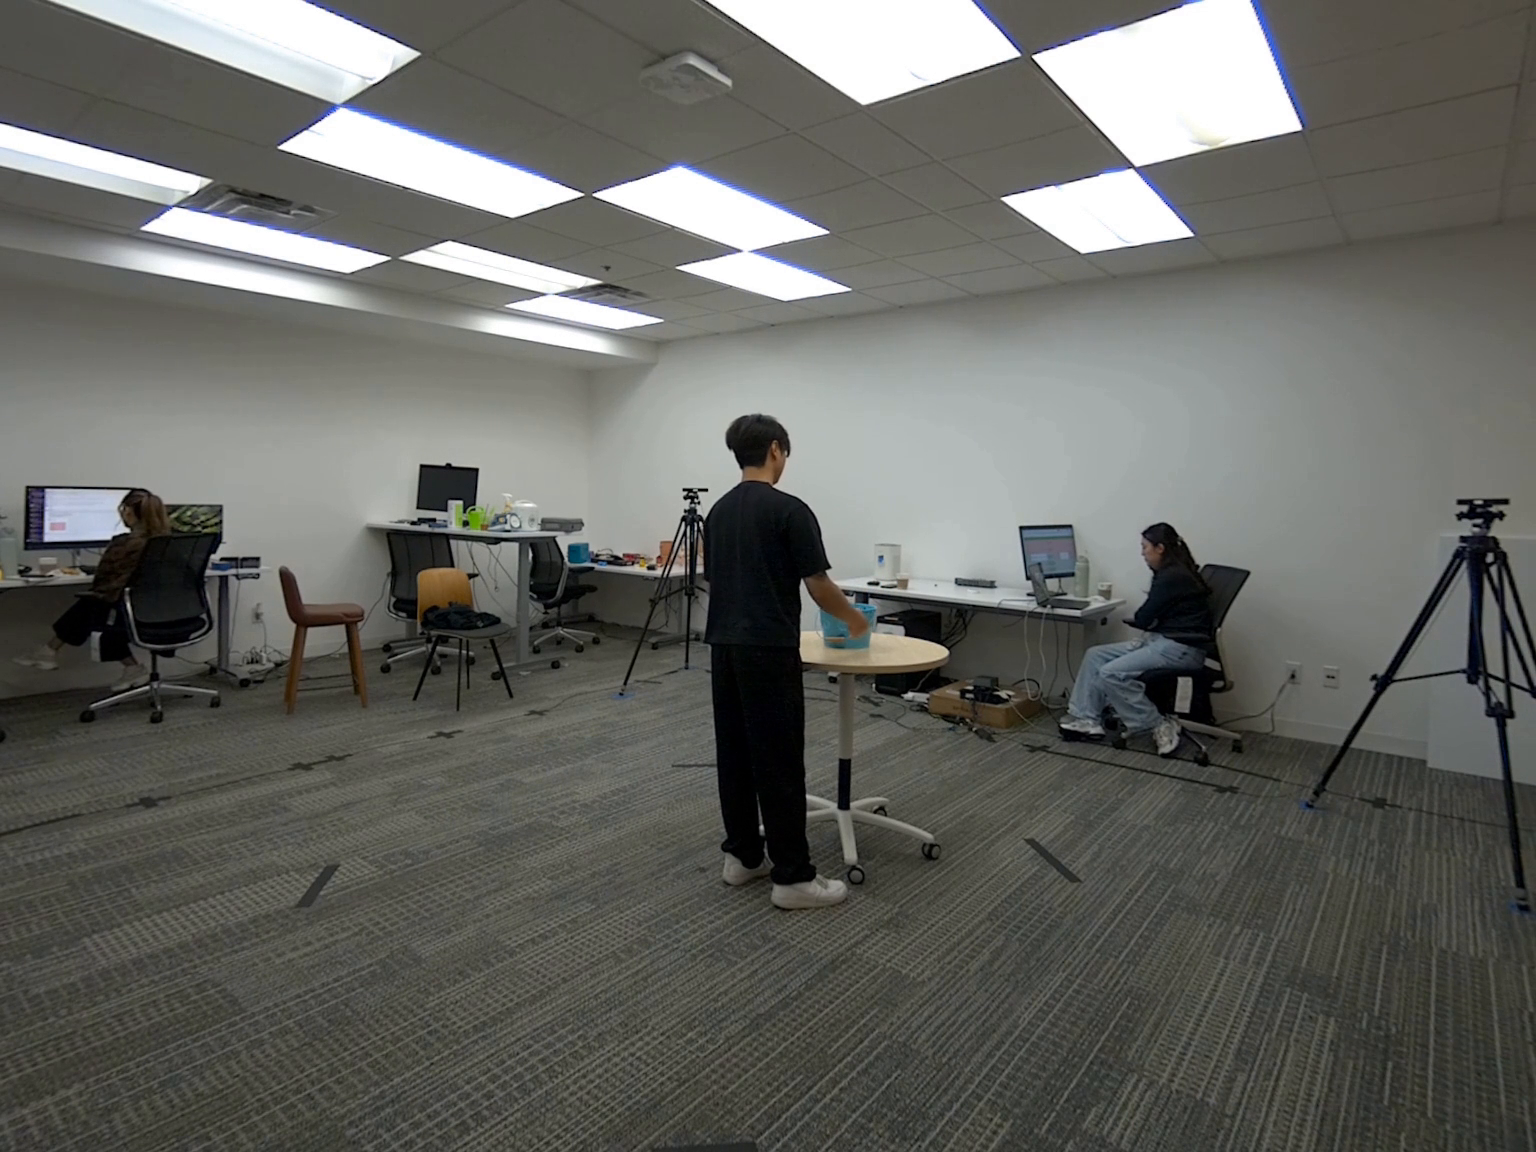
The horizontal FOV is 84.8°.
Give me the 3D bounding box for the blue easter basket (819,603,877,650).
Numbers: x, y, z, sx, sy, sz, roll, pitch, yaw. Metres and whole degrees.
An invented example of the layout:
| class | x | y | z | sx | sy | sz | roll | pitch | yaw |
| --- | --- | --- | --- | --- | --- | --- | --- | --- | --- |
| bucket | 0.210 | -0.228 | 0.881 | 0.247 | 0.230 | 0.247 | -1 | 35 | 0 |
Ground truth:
| class | x | y | z | sx | sy | sz | roll | pitch | yaw |
| --- | --- | --- | --- | --- | --- | --- | --- | --- | --- |
| blue easter basket | 0.308 | 0.197 | 3.383 | 0.243 | 0.155 | 0.244 | 1 | 3 | -2 |
